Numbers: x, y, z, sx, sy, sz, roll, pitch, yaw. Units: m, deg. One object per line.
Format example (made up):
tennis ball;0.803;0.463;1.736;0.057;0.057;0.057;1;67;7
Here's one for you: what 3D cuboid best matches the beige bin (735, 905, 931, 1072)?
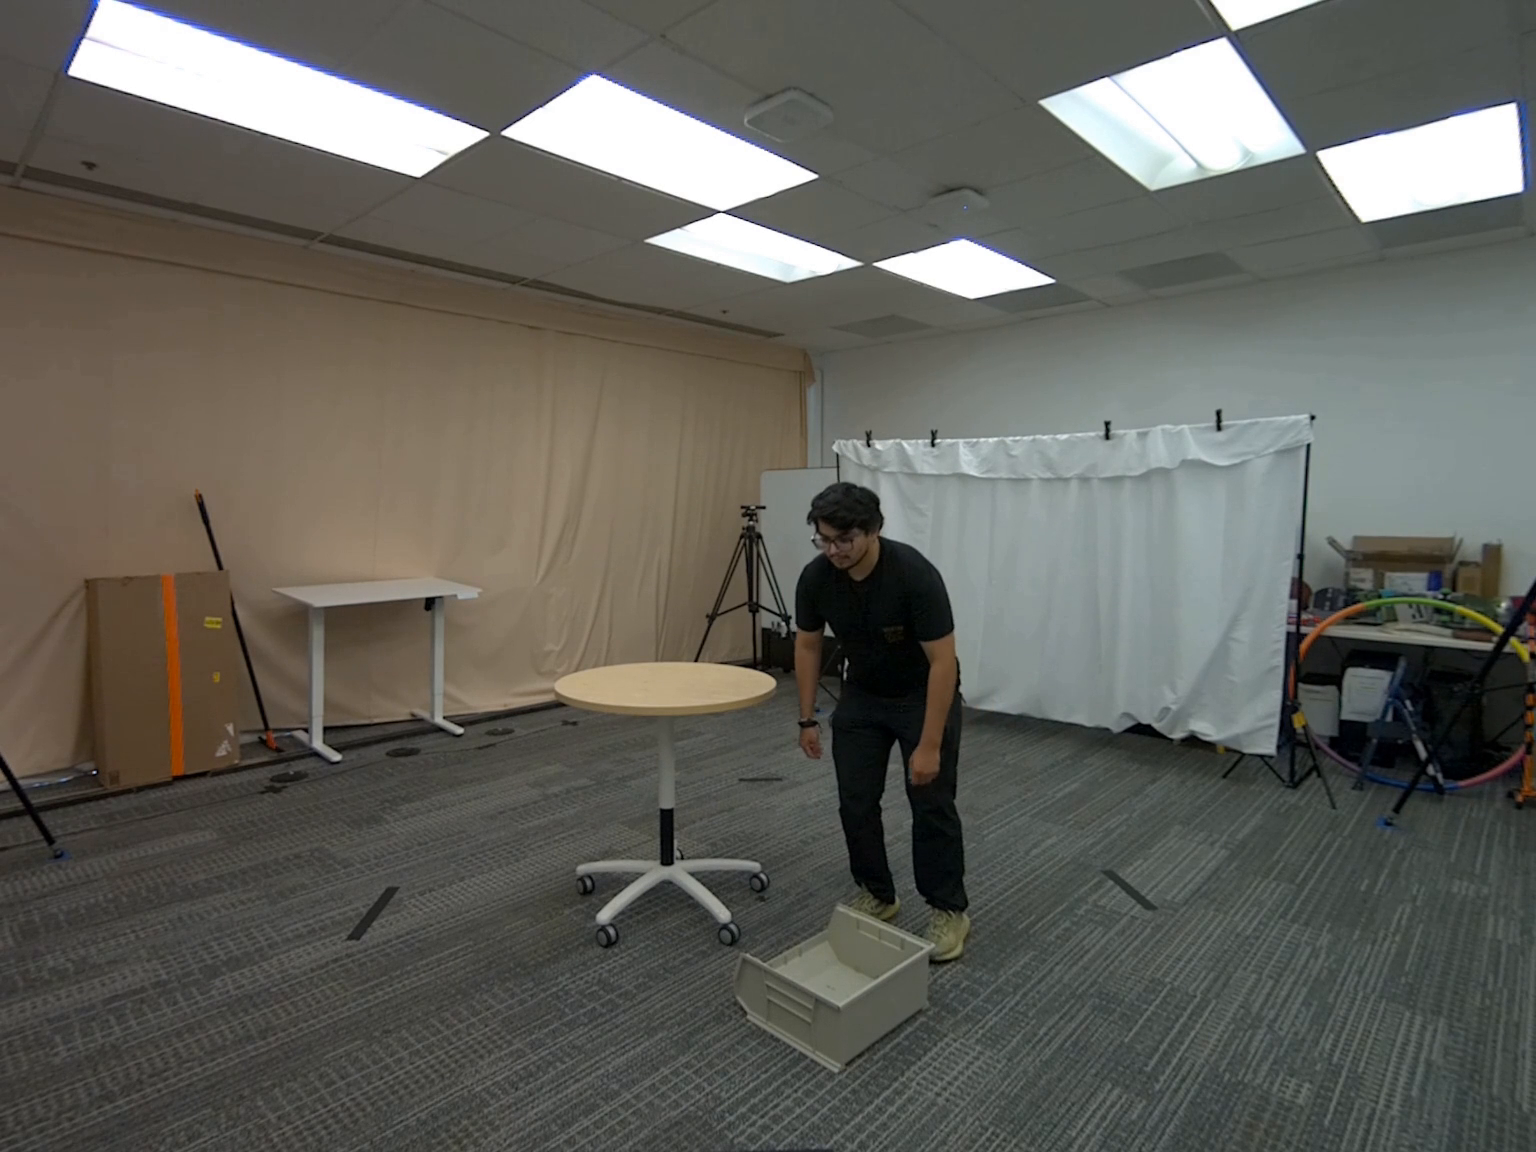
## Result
beige bin;0.186;1.113;2.321;0.390;0.188;0.409;6;7;45
